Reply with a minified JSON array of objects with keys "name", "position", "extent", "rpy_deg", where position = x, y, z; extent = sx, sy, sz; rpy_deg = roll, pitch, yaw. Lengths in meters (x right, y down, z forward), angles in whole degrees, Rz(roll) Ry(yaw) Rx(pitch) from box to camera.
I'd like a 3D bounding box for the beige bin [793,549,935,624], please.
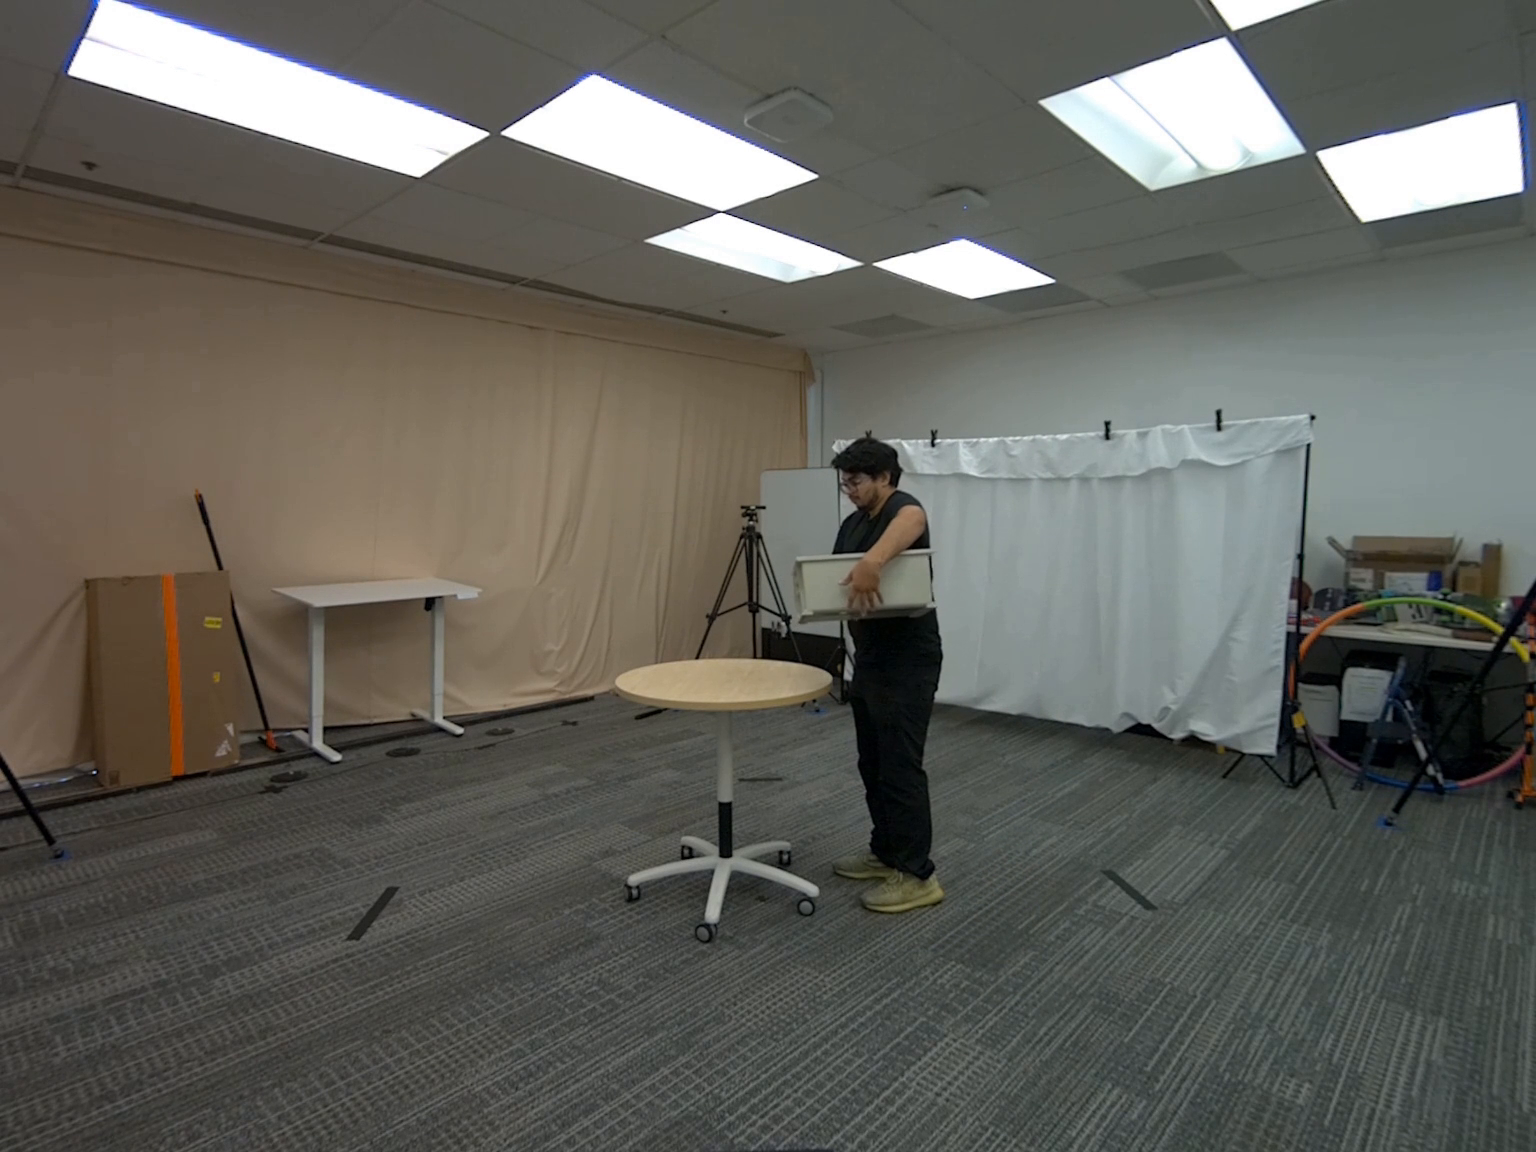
[{"name":"beige bin","position":[0.302,0.049,2.751],"extent":[0.423,0.190,0.375],"rpy_deg":[-3,-6,0]}]
